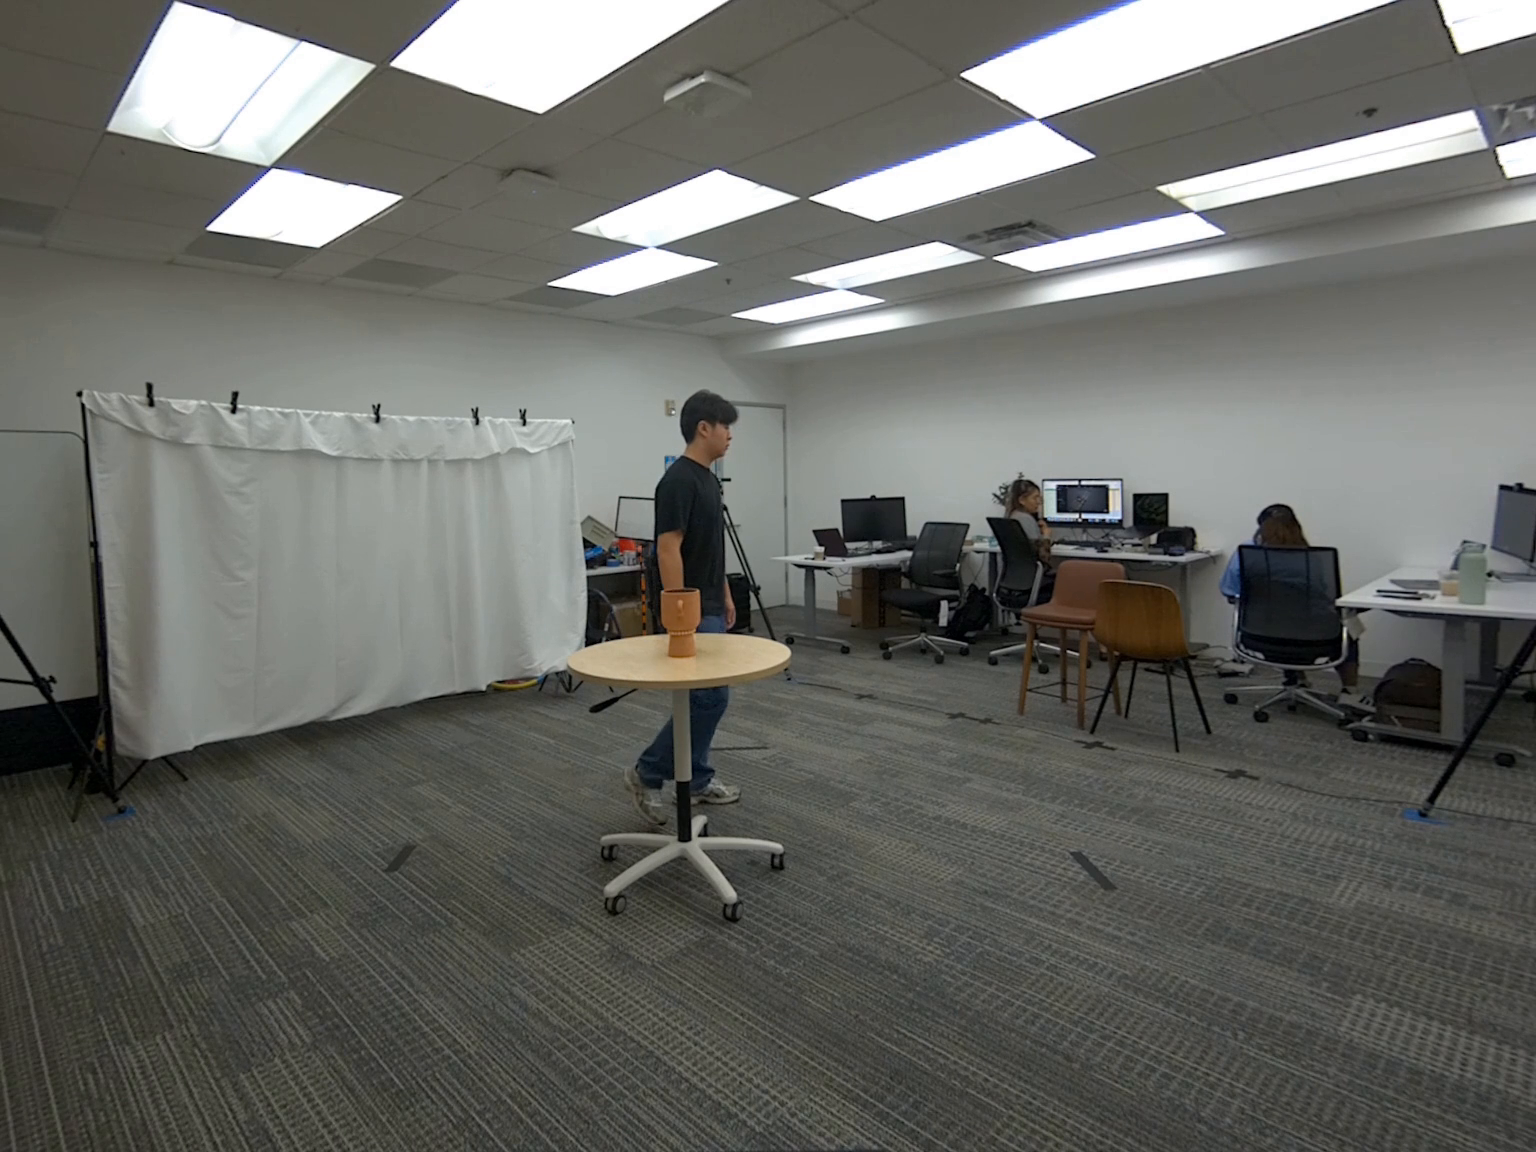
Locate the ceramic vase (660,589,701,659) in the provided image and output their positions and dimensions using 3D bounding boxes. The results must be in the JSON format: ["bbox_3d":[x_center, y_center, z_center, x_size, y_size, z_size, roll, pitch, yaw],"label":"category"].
[{"bbox_3d":[-0.290,0.163,2.921,0.138,0.219,0.155,3,6,38],"label":"ceramic vase"}]
